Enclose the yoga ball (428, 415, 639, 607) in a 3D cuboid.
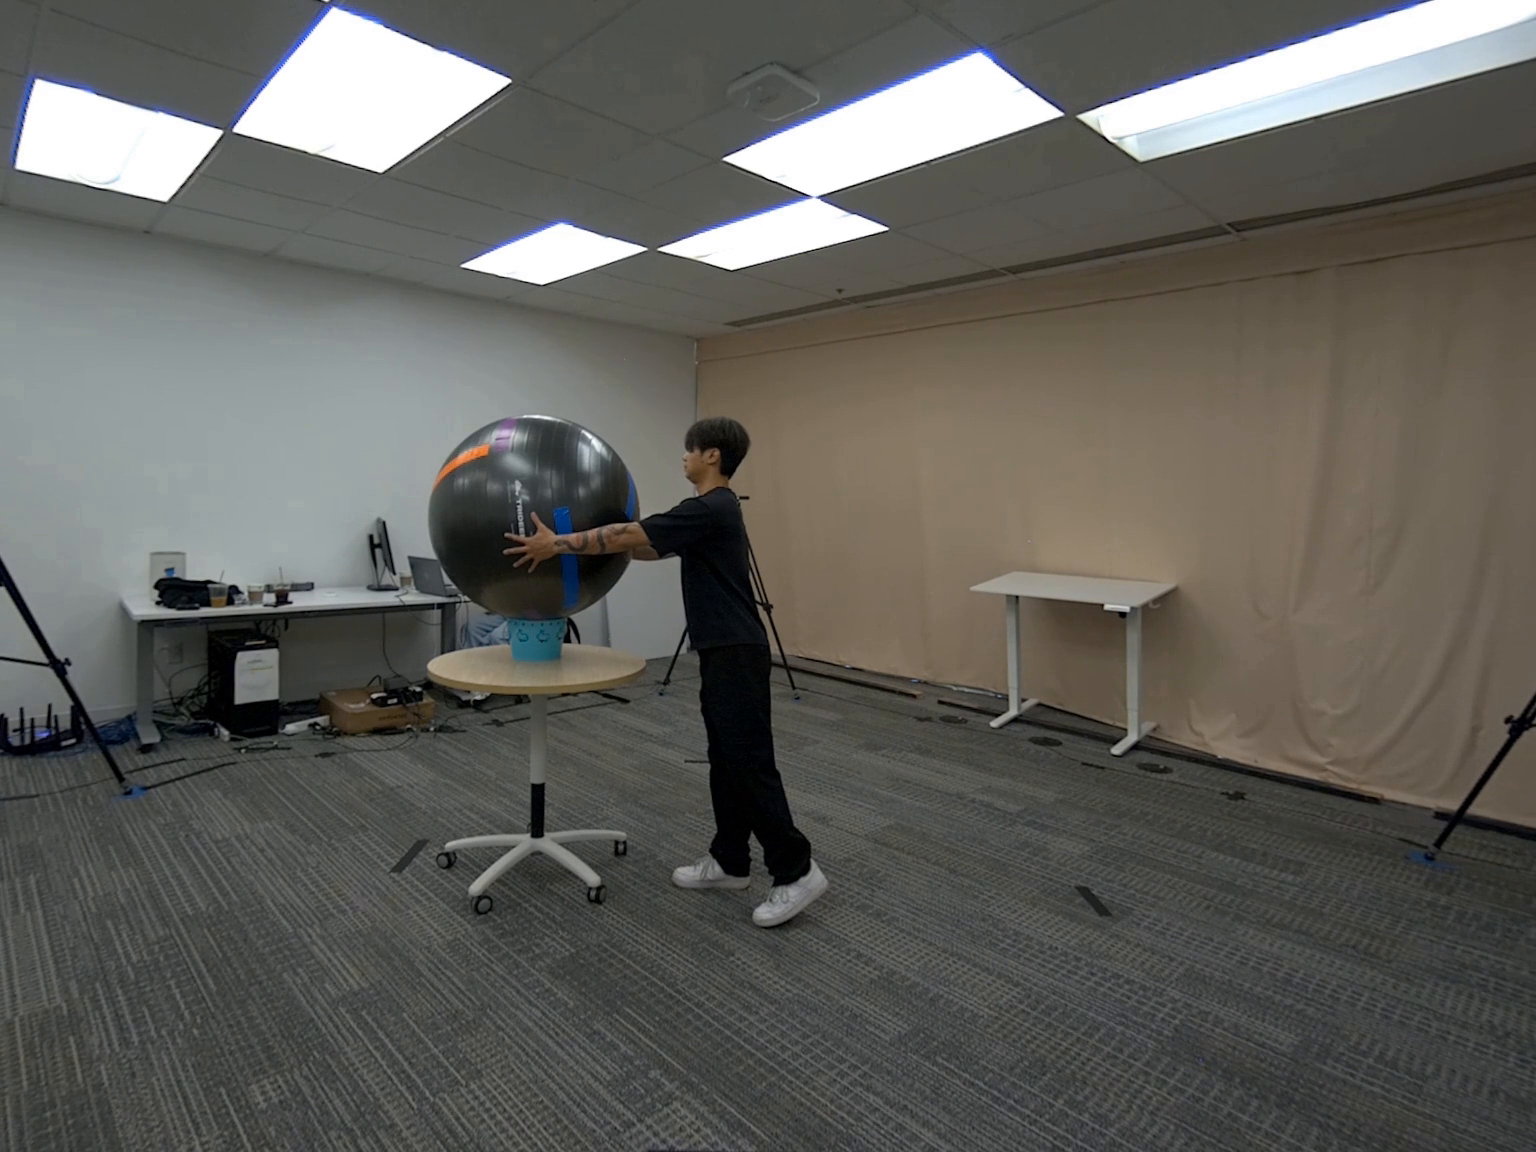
[{"bbox_3d":[-0.871,-0.211,3.113,0.757,0.756,0.761,1,4,-1],"label":"yoga ball"}]
